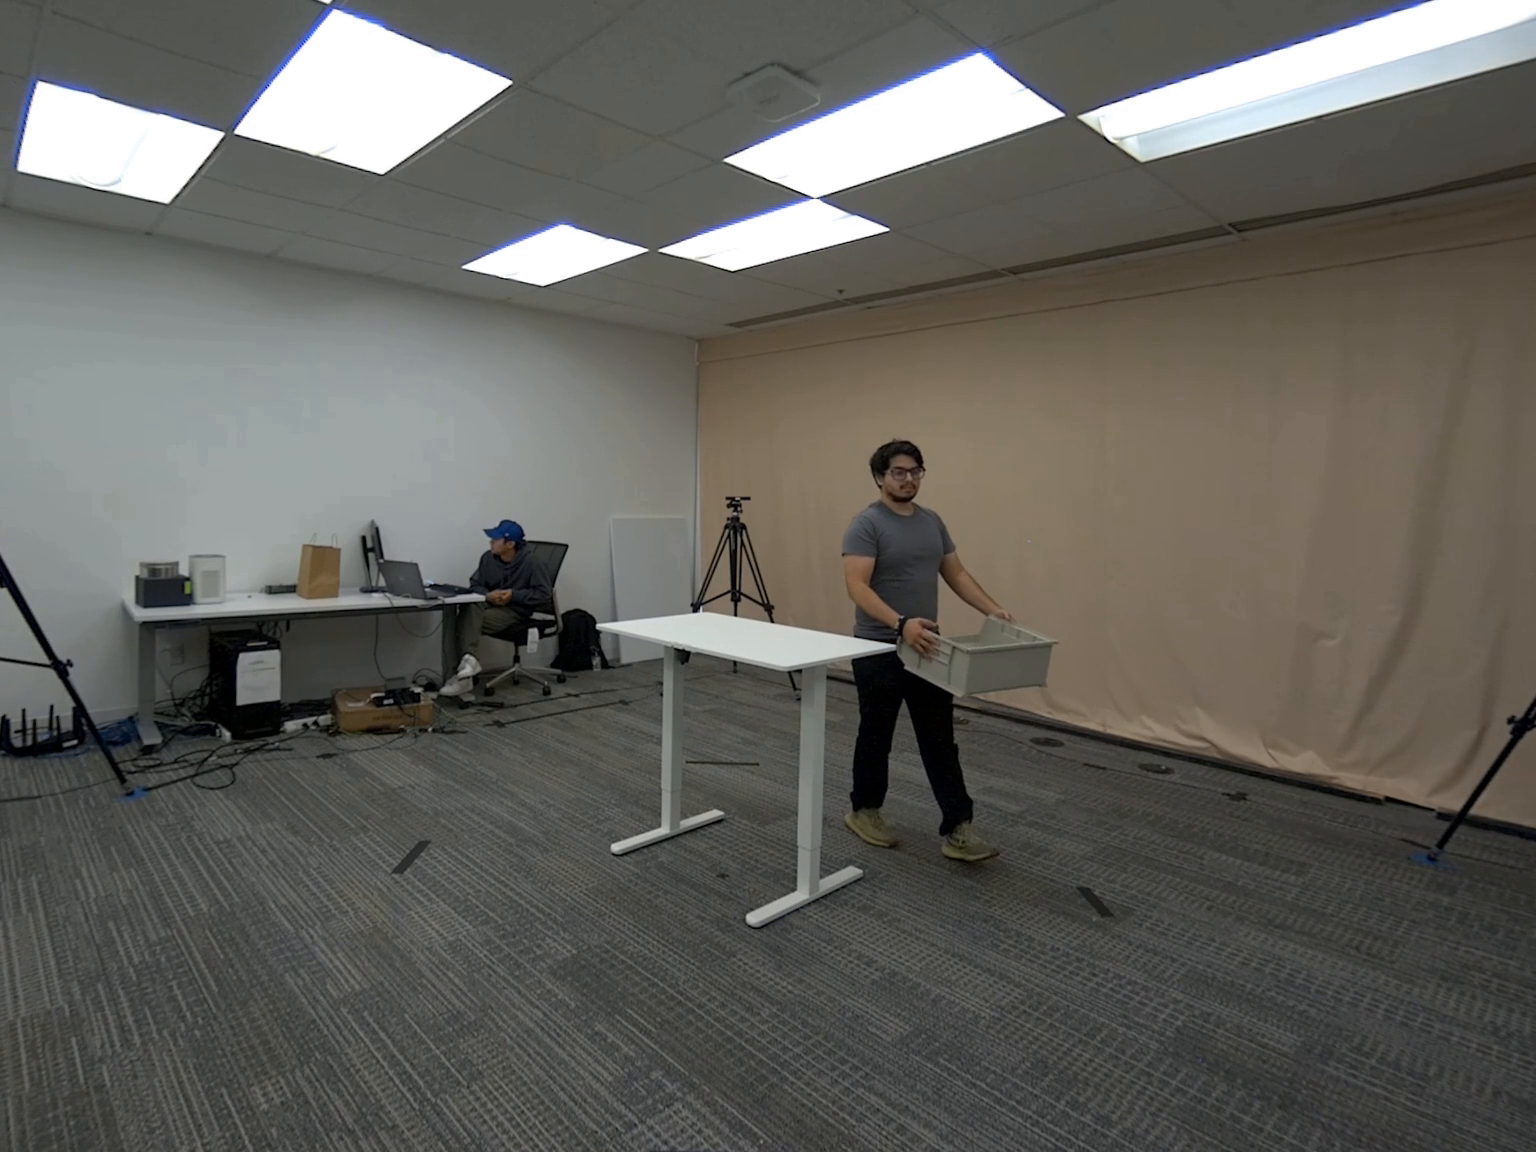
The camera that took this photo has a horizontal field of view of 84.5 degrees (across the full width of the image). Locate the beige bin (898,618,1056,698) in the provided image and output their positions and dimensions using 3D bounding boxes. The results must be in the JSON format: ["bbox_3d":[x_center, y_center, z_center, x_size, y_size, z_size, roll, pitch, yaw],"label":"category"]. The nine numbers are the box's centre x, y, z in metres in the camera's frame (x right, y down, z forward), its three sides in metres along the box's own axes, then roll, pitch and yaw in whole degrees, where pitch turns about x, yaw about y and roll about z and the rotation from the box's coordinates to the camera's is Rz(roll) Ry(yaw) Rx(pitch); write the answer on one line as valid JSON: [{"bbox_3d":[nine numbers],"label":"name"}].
[{"bbox_3d":[0.744,0.260,3.098,0.413,0.188,0.387,2,11,-30],"label":"beige bin"}]
